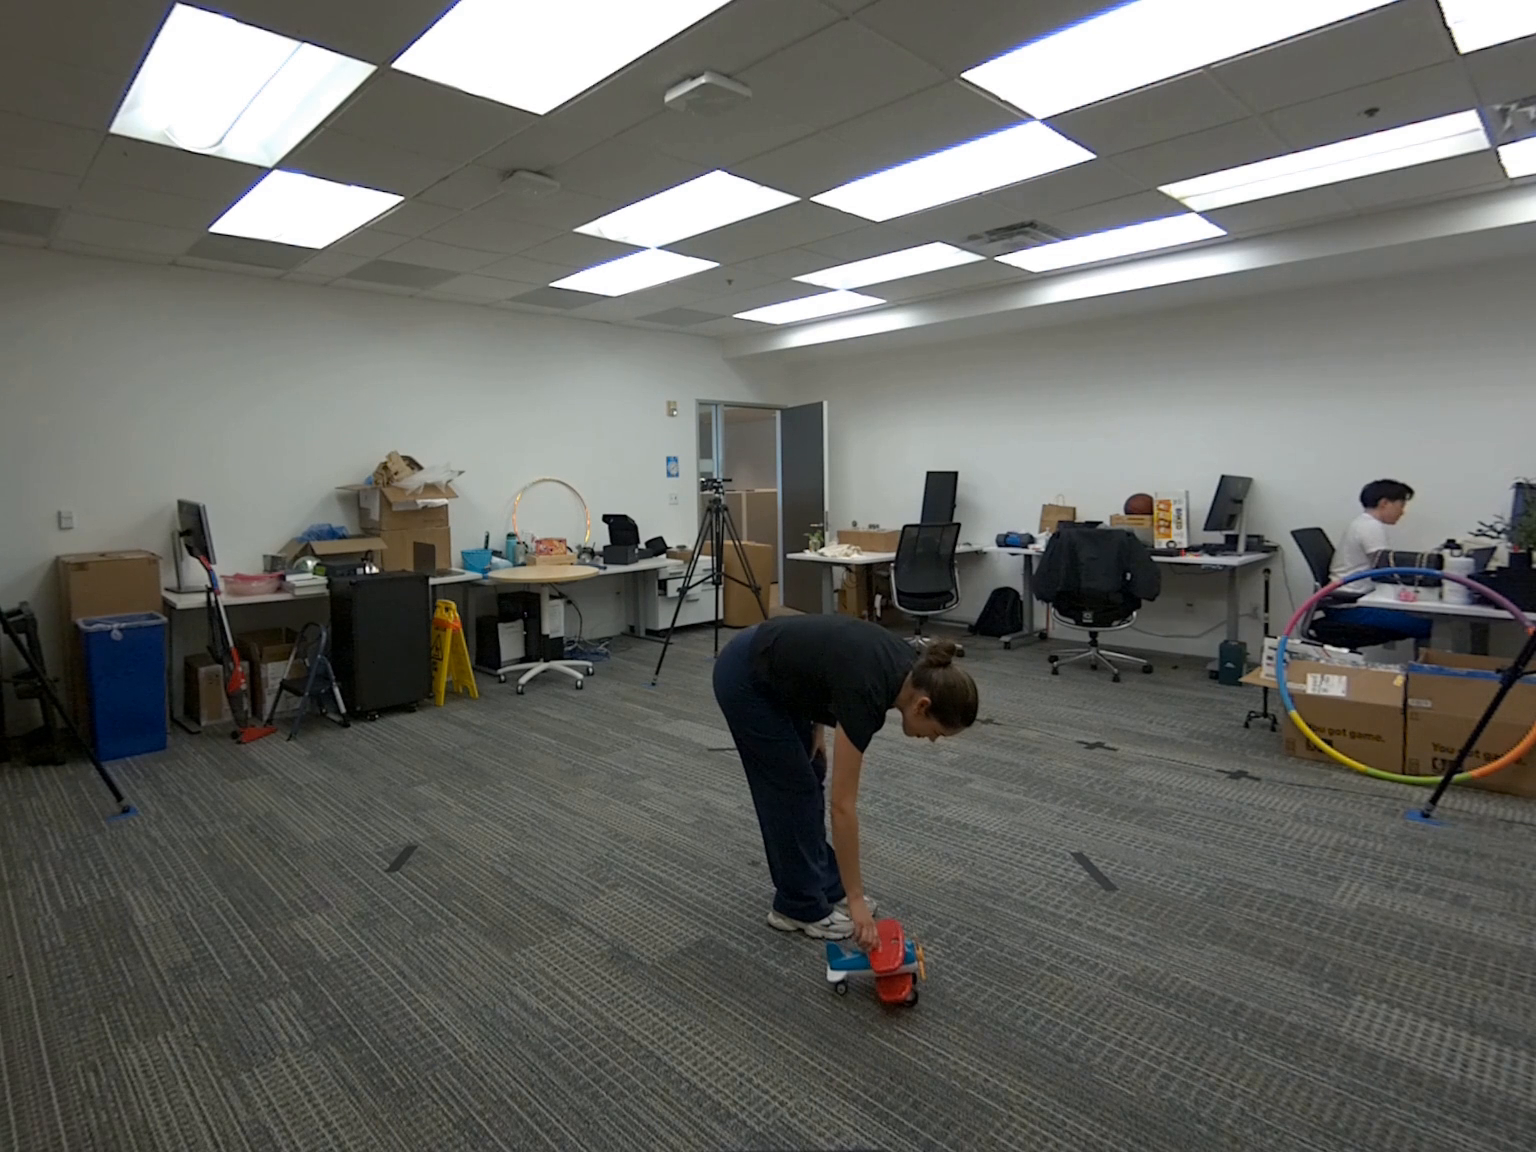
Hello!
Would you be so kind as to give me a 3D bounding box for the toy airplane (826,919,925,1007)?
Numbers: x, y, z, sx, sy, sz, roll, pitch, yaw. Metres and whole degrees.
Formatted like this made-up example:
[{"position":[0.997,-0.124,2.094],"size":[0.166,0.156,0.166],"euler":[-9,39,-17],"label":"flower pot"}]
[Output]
[{"position":[0.297,1.055,2.307],"size":[0.254,0.156,0.257],"euler":[-3,5,-21],"label":"toy airplane"}]
